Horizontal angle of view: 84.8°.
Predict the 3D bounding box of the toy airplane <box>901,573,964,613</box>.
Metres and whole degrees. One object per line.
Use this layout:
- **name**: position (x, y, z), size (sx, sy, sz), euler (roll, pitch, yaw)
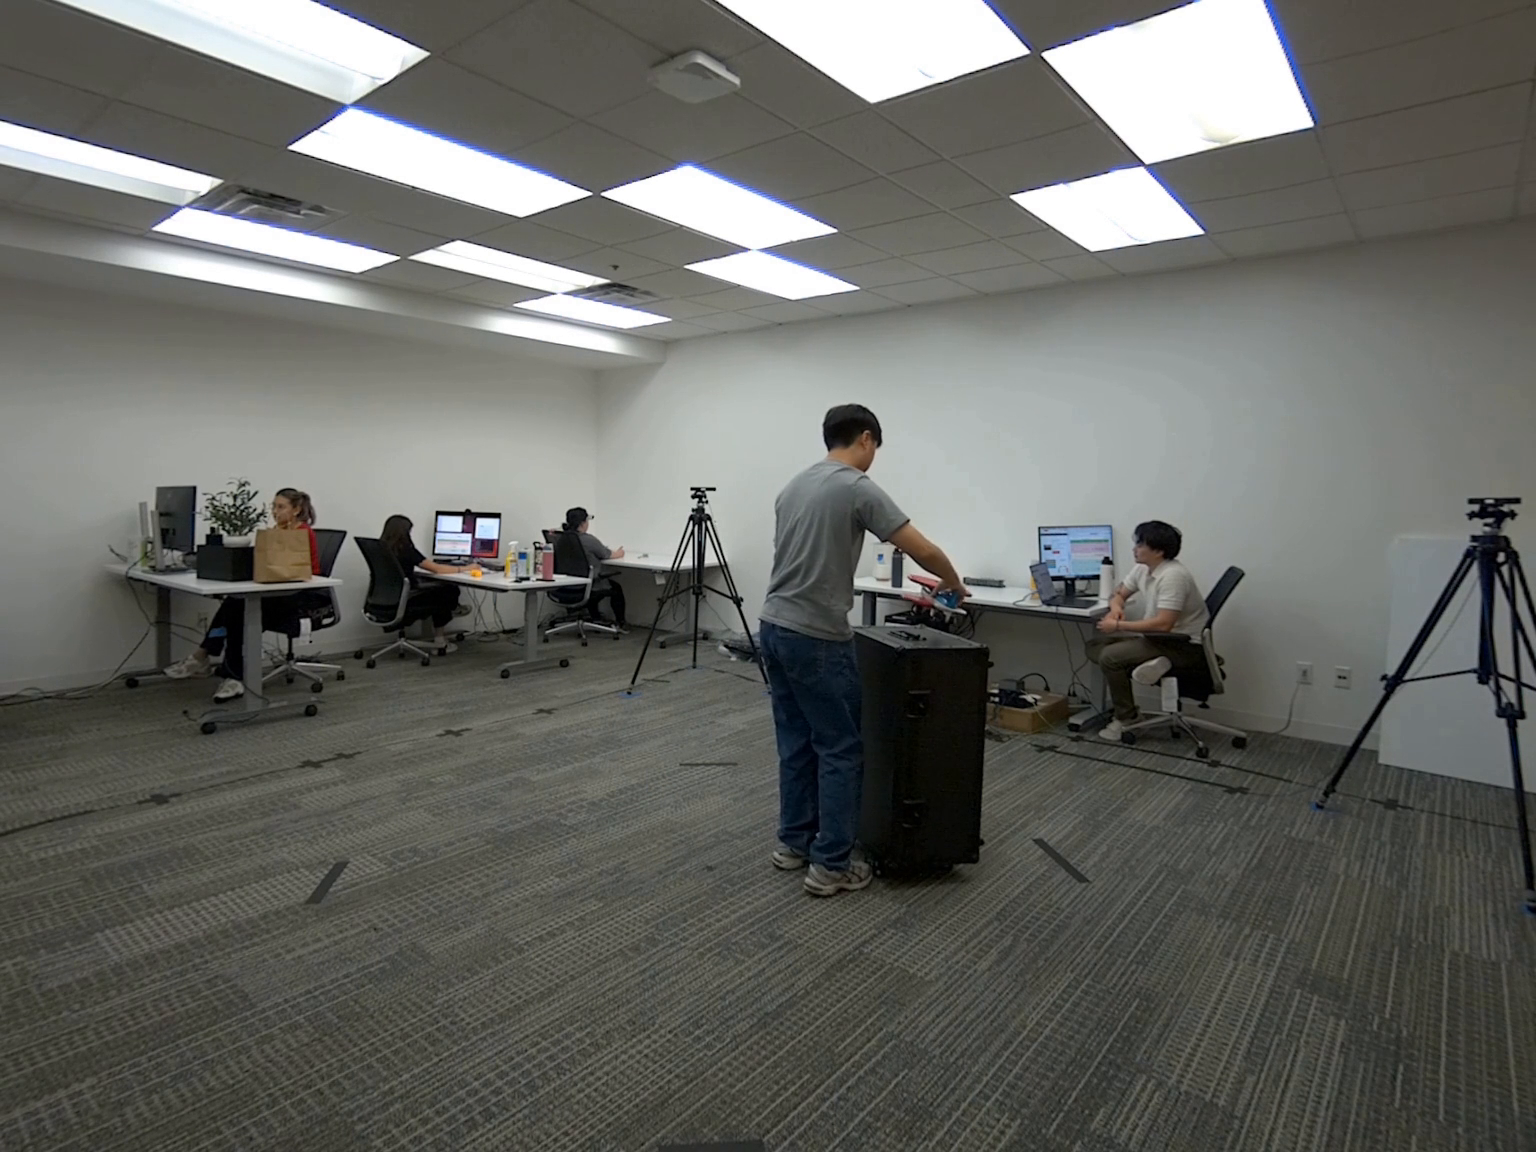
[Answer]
- **toy airplane**: position (0.662, 0.092, 3.201), size (0.242, 0.156, 0.268), euler (14, -1, -39)
